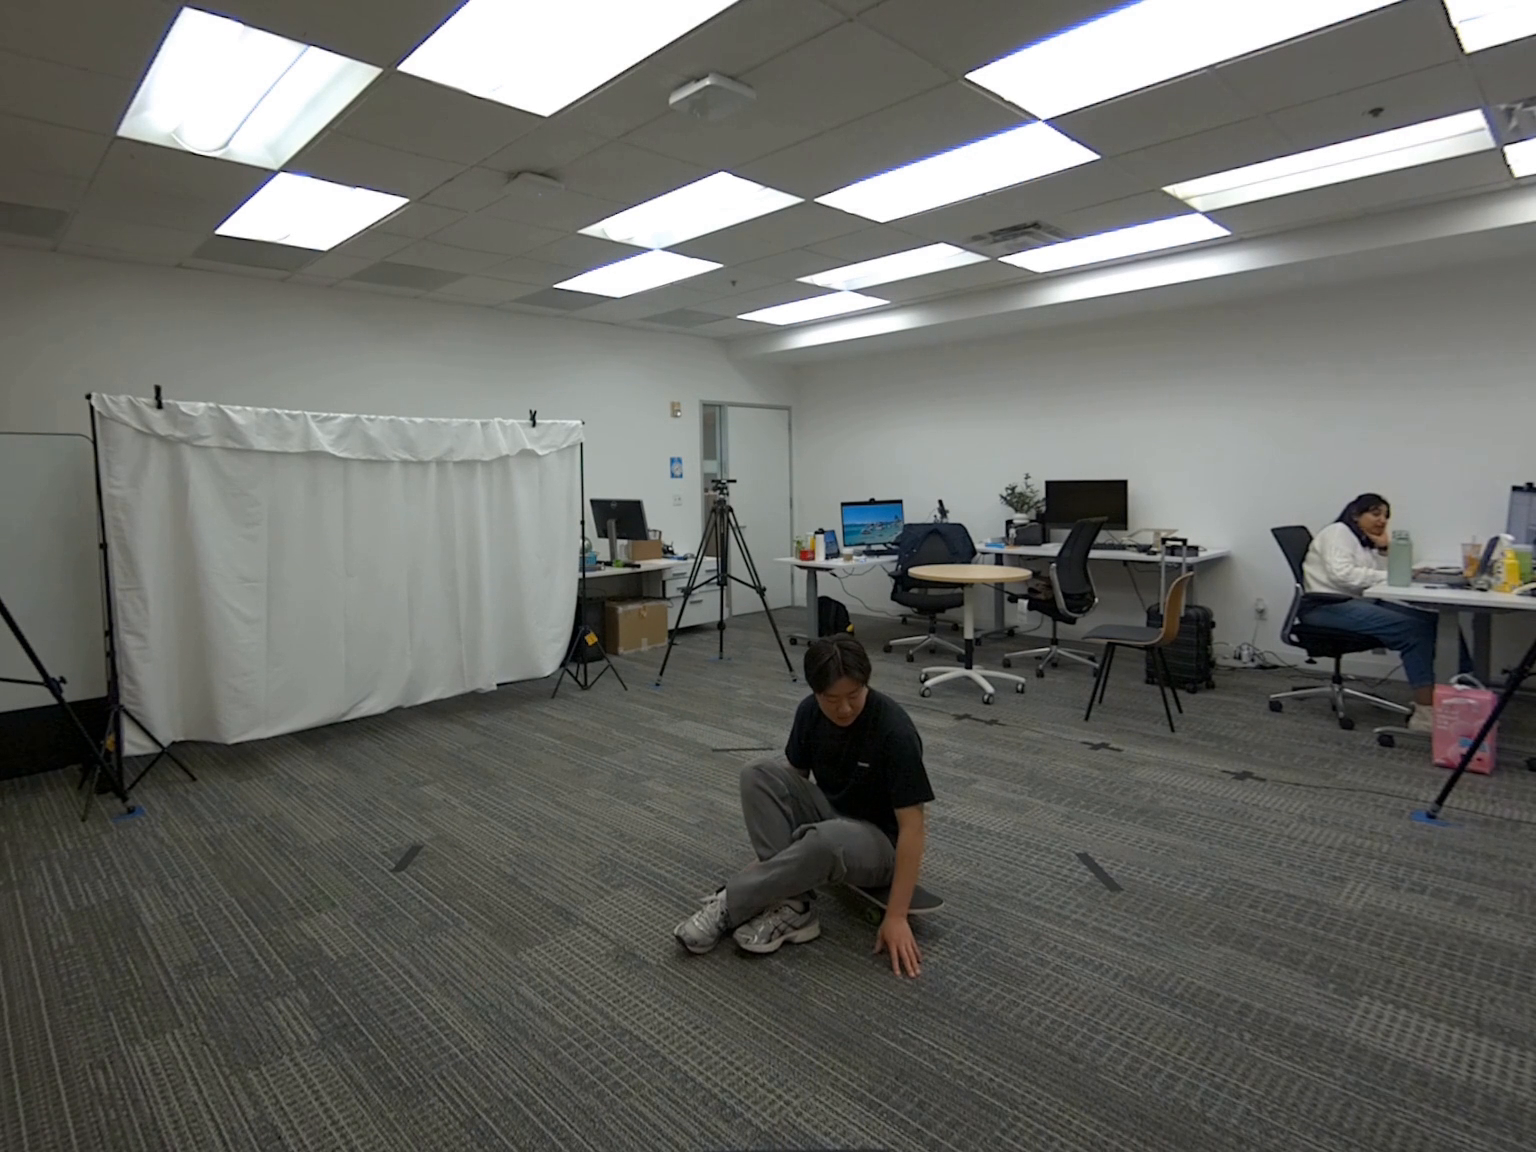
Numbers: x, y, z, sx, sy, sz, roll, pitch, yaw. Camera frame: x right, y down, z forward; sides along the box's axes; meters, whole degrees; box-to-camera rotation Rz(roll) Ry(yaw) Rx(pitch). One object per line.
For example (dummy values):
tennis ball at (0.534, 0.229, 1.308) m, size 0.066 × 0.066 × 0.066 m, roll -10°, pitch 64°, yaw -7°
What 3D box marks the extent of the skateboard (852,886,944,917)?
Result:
skateboard at (0.295, 1.013, 2.890) m, size 0.188 × 0.110 × 0.808 m, roll 1°, pitch 5°, yaw -31°
